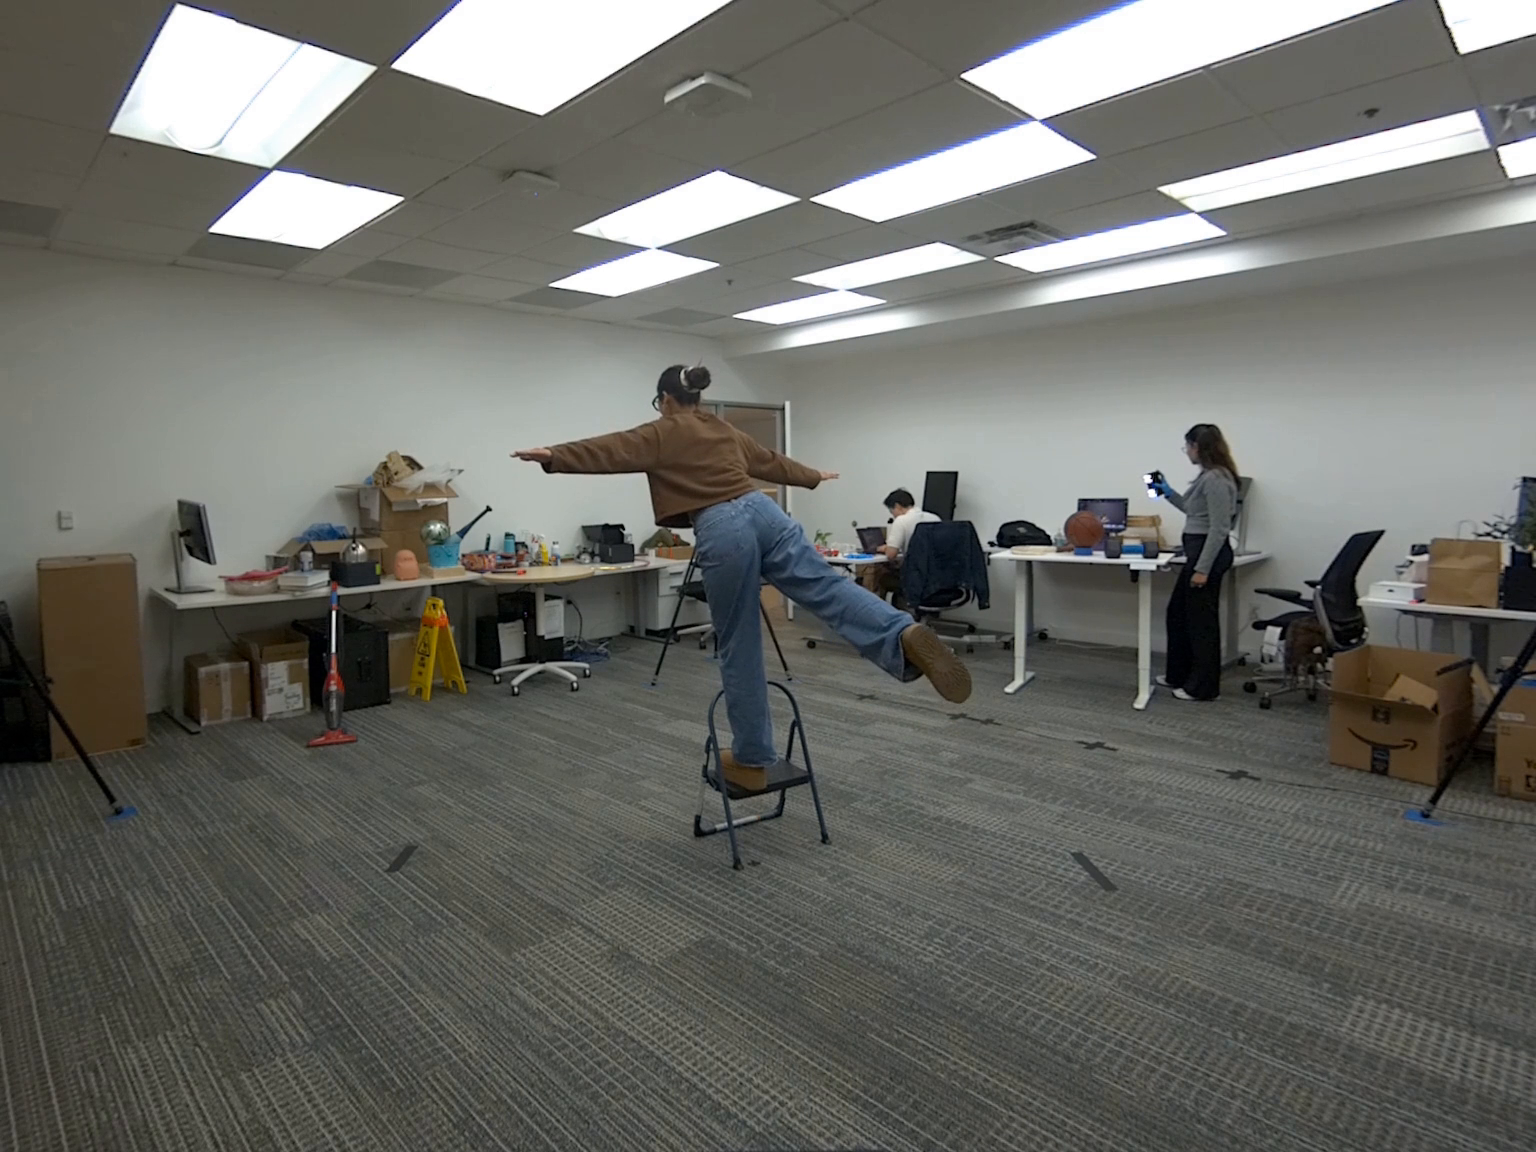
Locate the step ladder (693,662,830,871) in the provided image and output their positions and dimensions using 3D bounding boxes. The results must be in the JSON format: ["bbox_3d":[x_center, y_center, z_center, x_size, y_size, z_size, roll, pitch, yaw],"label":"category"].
[{"bbox_3d":[-0.031,0.721,3.292,0.420,0.604,0.359,-4,5,-33],"label":"step ladder"}]
